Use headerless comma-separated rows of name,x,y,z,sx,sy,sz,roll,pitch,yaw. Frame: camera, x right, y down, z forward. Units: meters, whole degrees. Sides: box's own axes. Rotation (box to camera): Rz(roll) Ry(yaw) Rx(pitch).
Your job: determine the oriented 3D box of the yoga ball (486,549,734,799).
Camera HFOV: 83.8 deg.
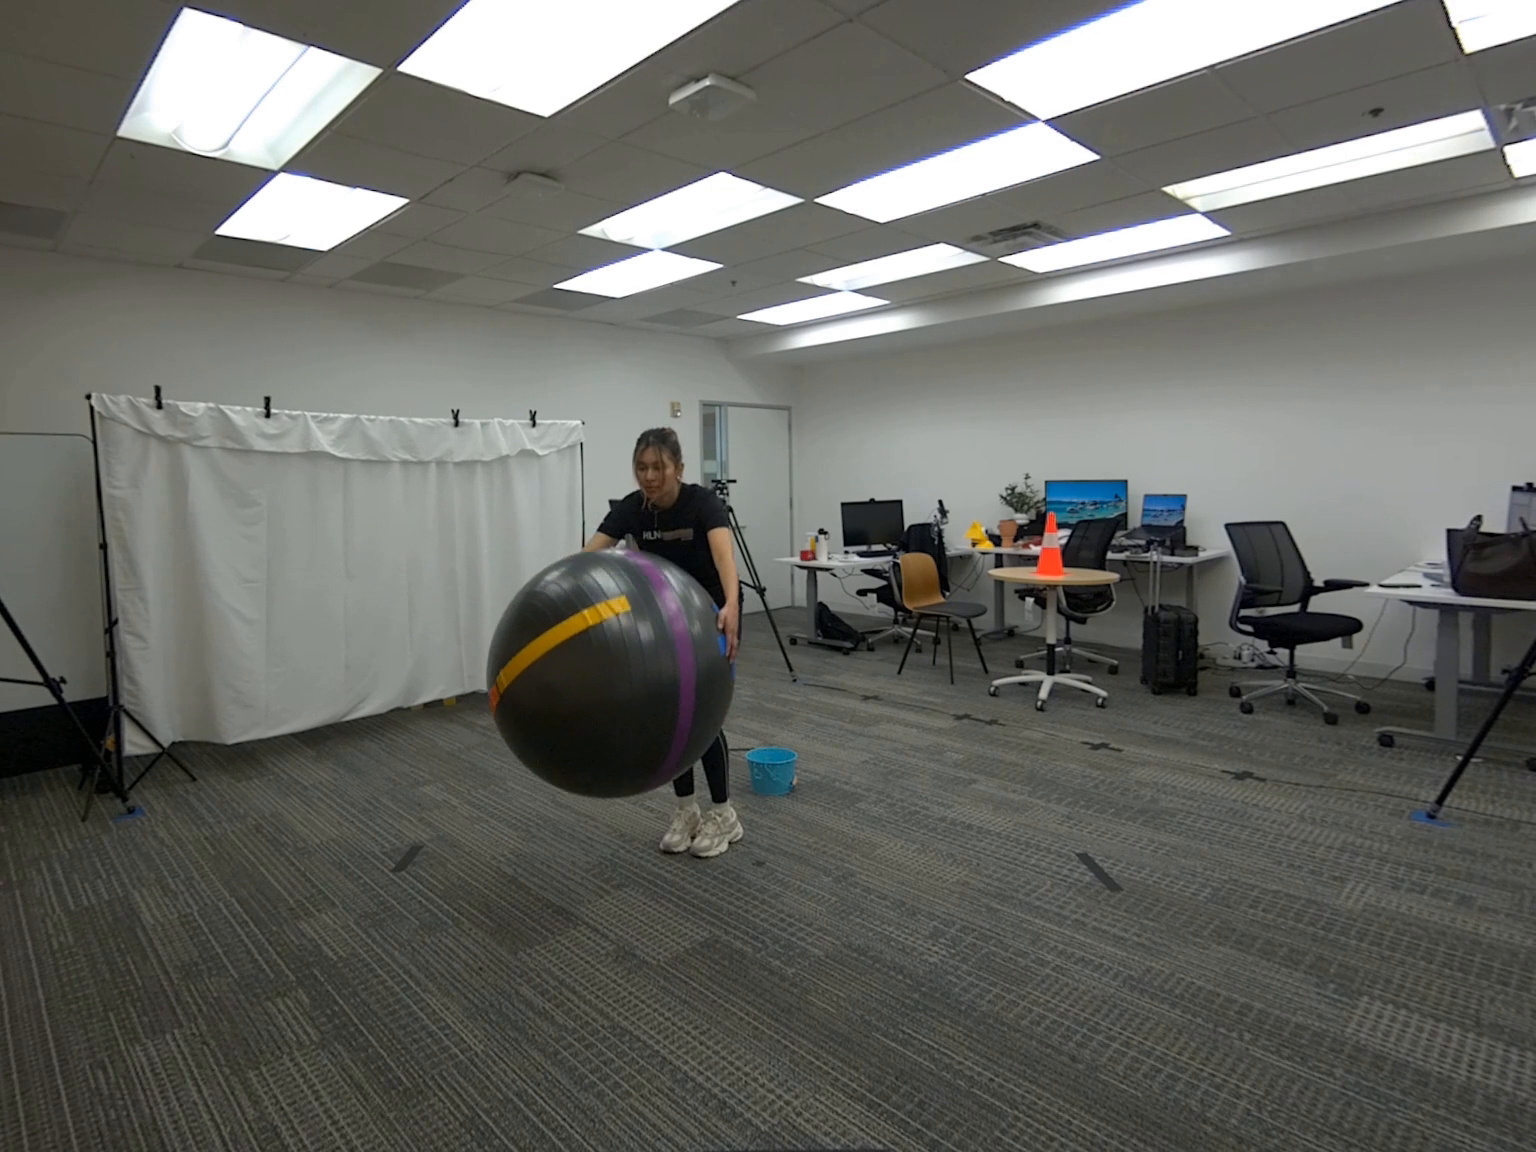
yoga ball,-0.472,0.297,2.639,0.757,0.755,0.762,-1,5,-2
